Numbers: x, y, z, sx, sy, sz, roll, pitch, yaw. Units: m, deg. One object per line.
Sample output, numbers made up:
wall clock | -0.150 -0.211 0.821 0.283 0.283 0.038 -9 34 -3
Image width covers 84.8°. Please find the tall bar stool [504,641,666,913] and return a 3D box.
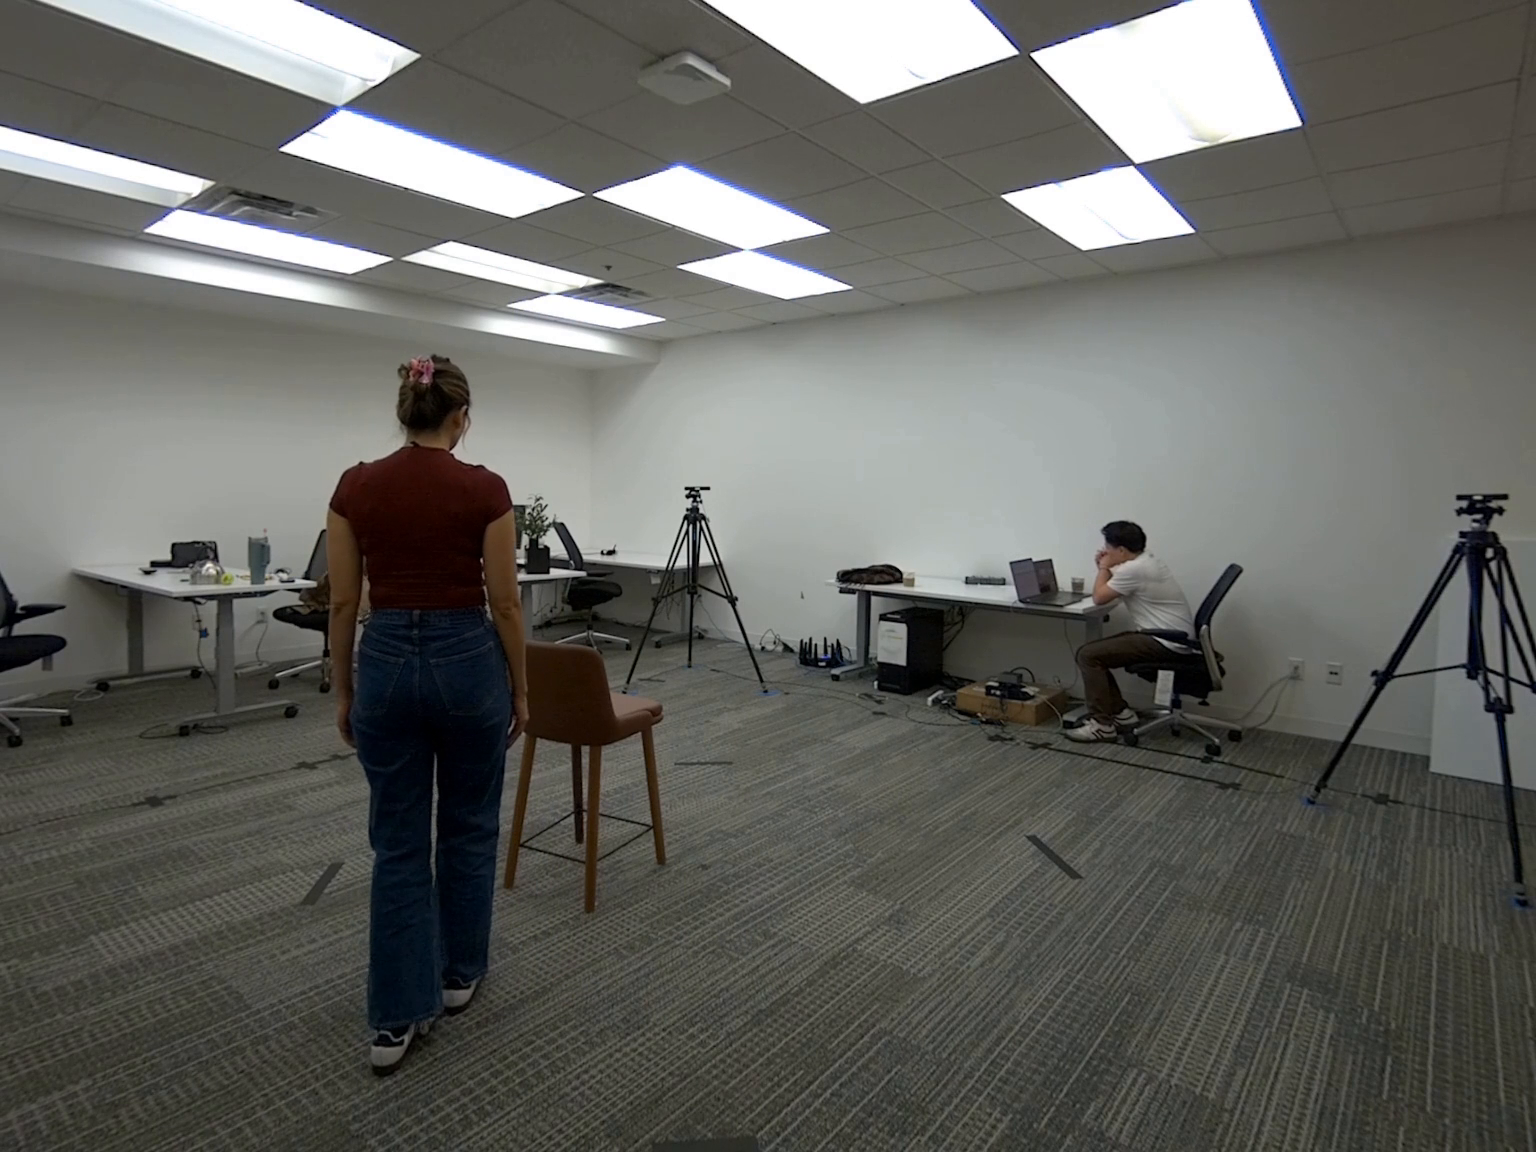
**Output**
tall bar stool | -0.662 0.631 3.018 0.469 0.886 0.457 2 5 27
